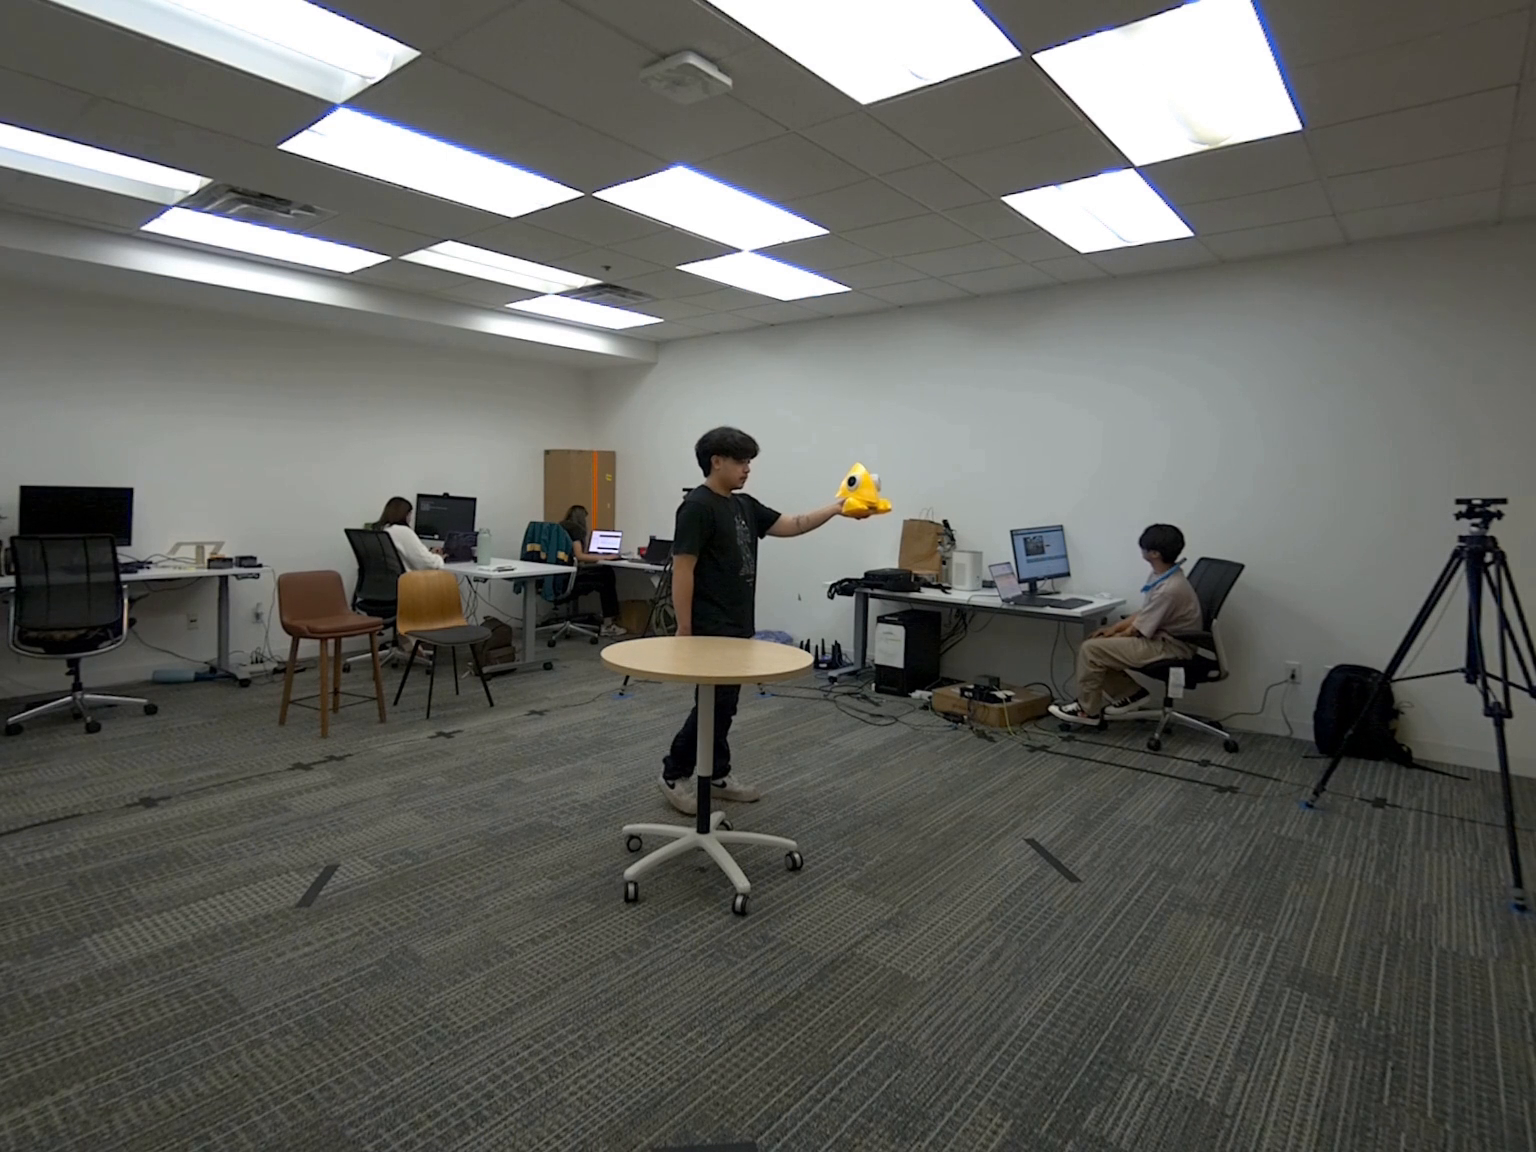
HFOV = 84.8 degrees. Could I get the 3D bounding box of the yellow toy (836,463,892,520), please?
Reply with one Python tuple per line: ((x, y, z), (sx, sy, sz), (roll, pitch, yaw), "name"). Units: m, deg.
((0.403, -0.392, 3.626), (0.201, 0.232, 0.195), (0, -7, -19), "yellow toy")
